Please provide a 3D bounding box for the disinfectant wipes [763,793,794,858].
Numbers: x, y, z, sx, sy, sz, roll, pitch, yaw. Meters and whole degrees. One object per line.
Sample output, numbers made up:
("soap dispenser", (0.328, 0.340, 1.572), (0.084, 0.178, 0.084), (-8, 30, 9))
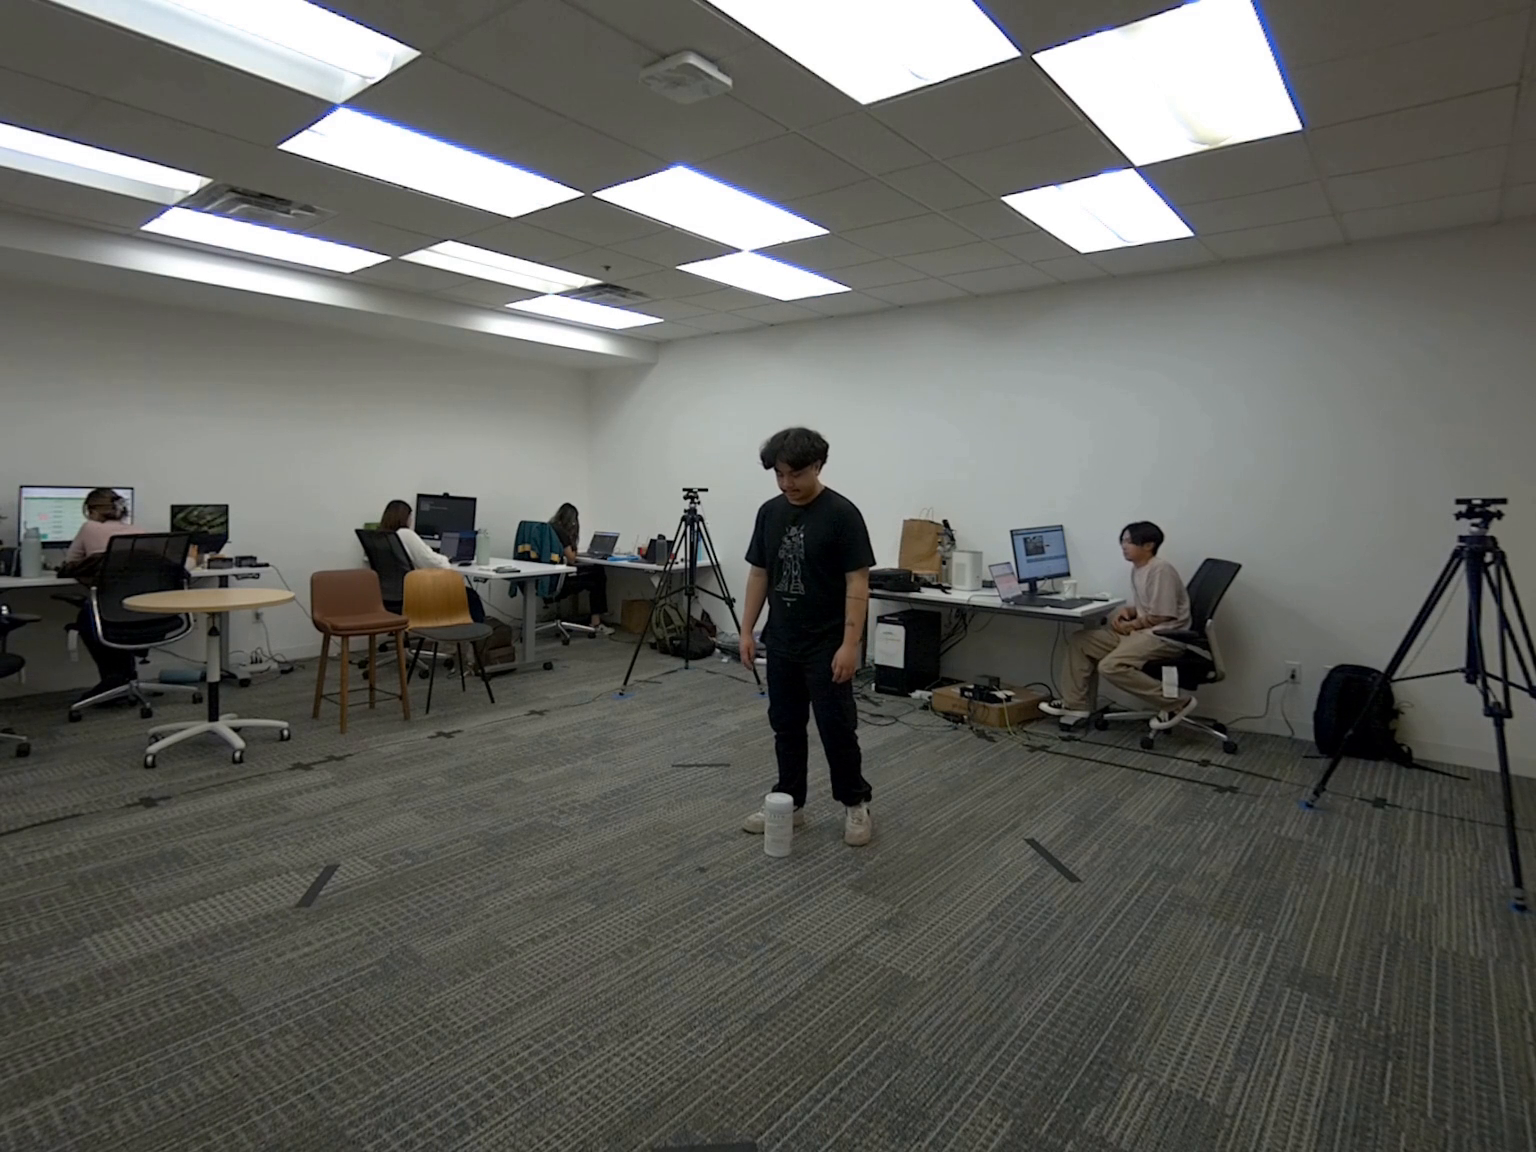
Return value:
("disinfectant wipes", (0.038, 0.952, 3.267), (0.118, 0.217, 0.118), (0, 4, -2))
